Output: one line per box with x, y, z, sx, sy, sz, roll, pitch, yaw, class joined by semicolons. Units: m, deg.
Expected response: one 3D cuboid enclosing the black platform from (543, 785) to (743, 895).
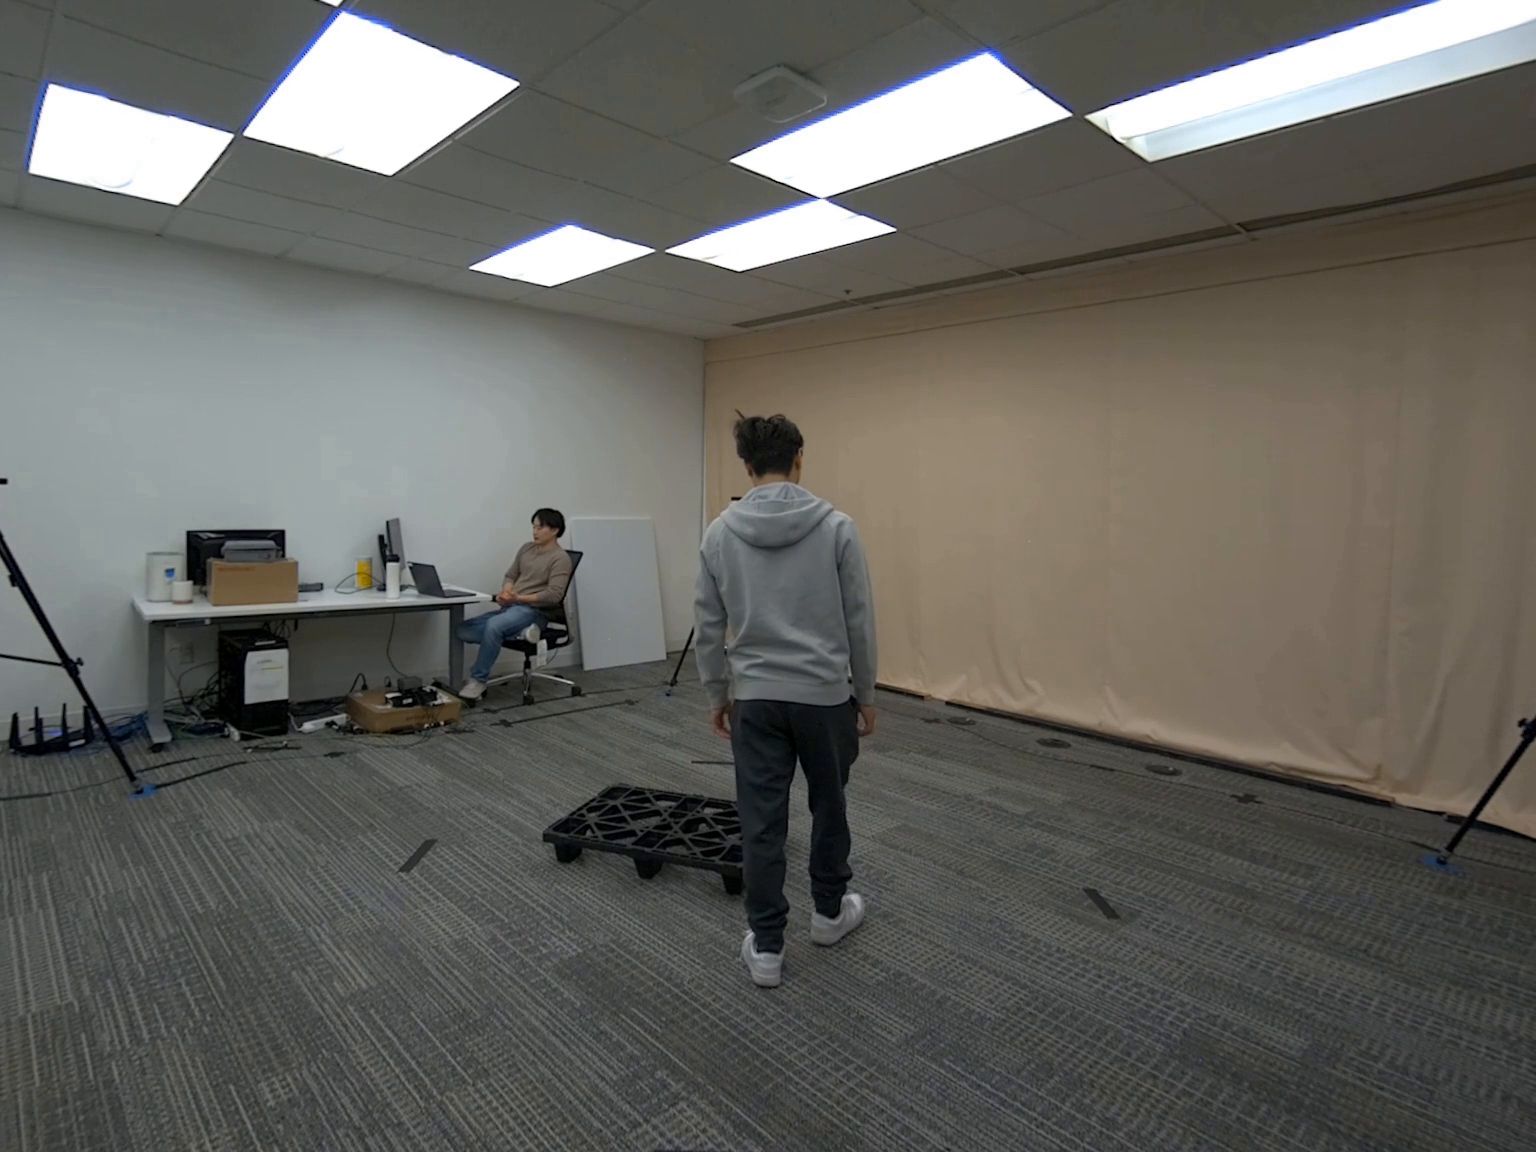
-0.384;1.019;3.282;0.818;0.143;0.598;3;6;18;black platform
